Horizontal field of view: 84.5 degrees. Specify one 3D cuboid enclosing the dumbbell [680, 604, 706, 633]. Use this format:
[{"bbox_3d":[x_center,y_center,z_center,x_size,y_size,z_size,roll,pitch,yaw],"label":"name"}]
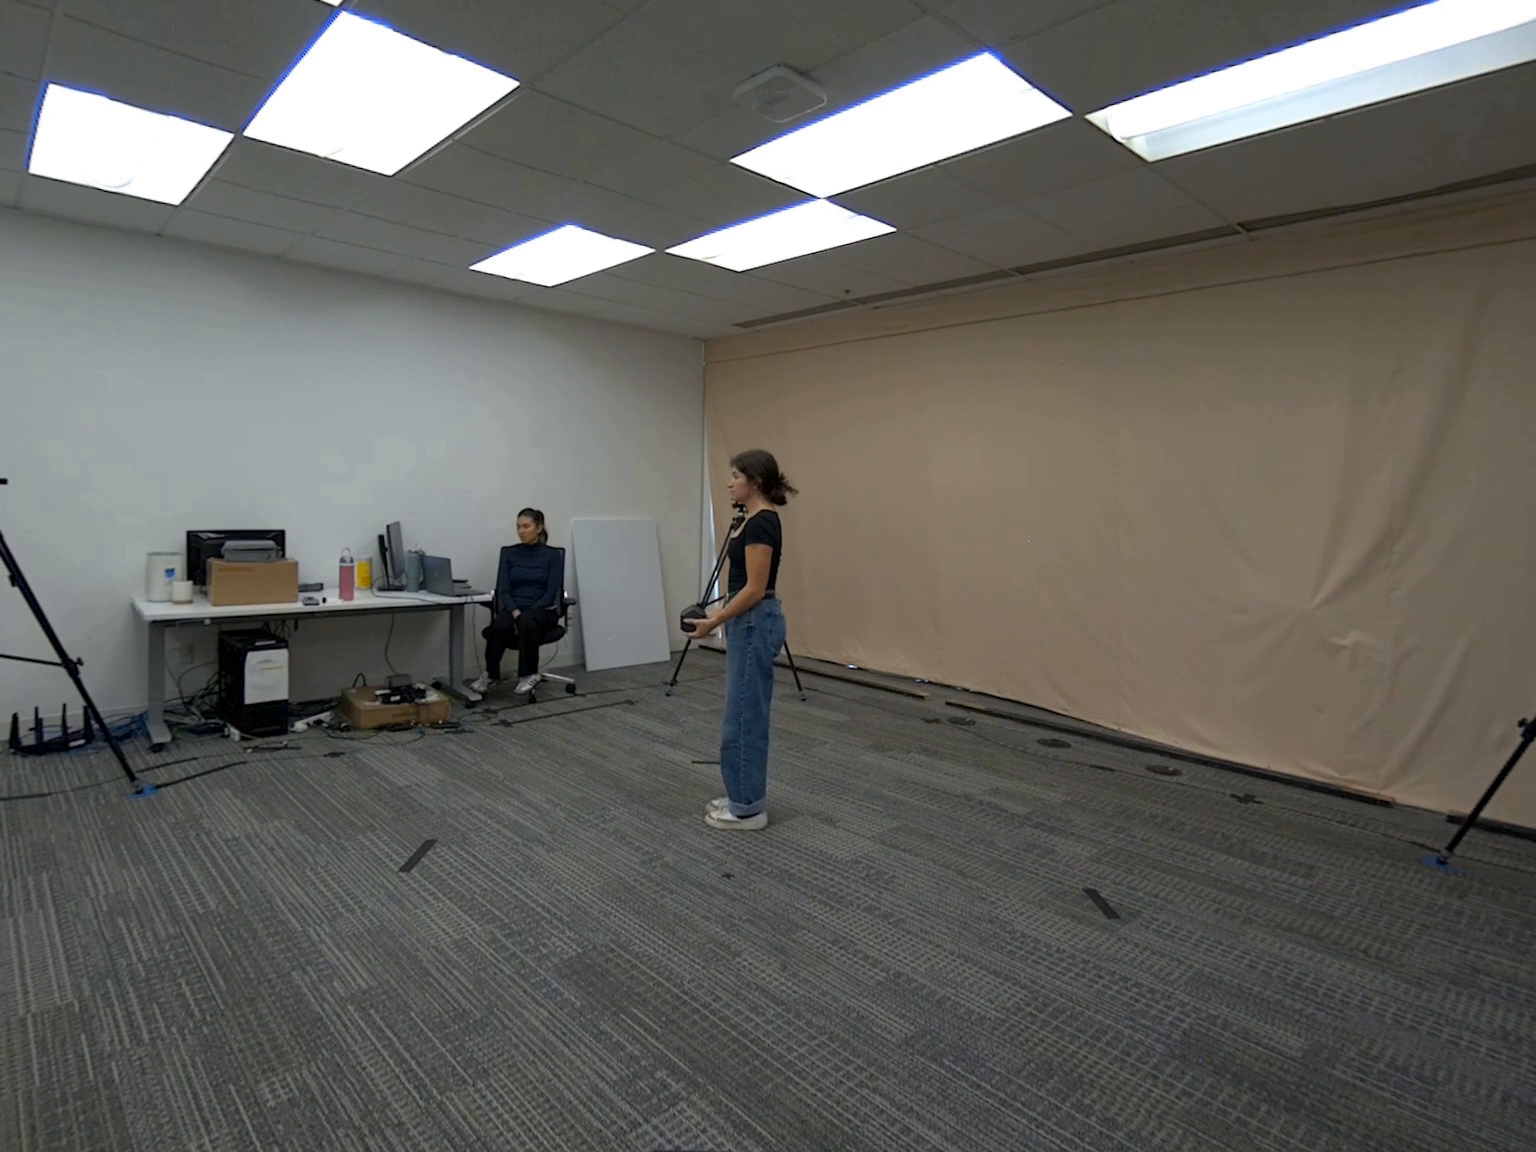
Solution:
[{"bbox_3d":[-0.325,0.167,3.636,0.123,0.109,0.294,28,1,-3],"label":"dumbbell"}]
